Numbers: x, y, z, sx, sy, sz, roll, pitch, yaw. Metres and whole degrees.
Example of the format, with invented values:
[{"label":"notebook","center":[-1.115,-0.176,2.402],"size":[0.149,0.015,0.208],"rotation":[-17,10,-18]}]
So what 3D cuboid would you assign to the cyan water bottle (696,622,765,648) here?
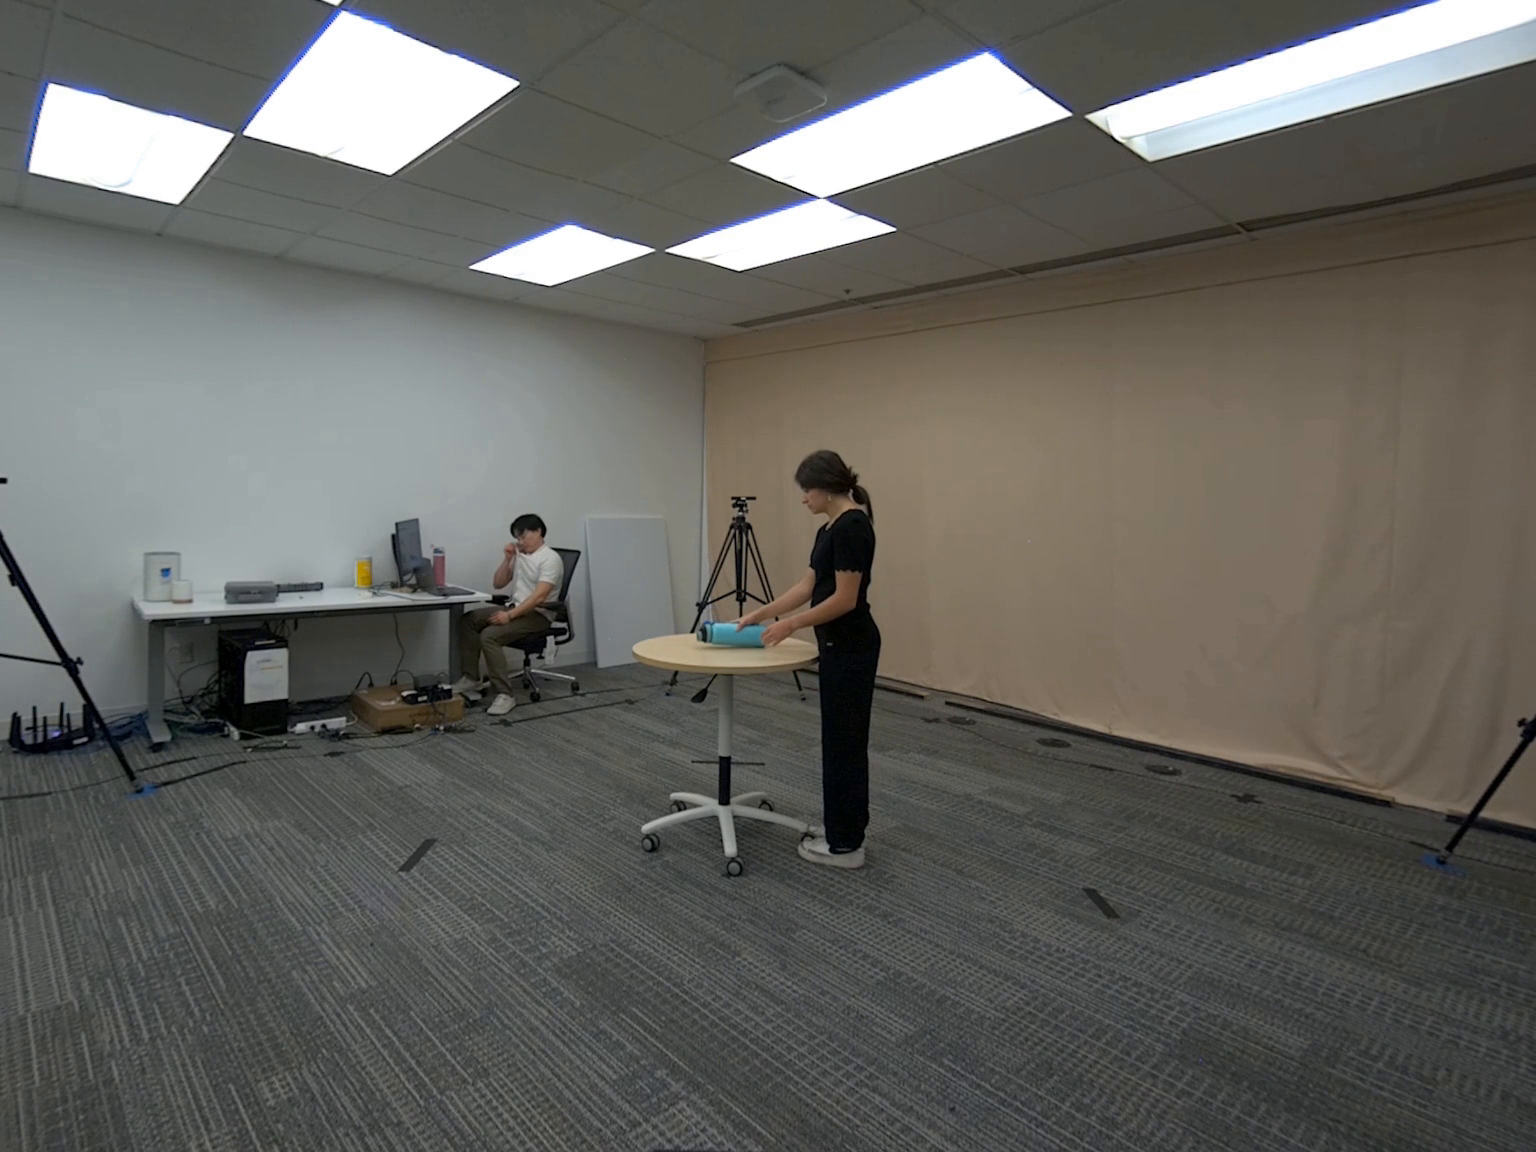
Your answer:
[{"label":"cyan water bottle","center":[-0.148,0.230,3.426],"size":[0.282,0.092,0.093],"rotation":[3,4,-7]}]
